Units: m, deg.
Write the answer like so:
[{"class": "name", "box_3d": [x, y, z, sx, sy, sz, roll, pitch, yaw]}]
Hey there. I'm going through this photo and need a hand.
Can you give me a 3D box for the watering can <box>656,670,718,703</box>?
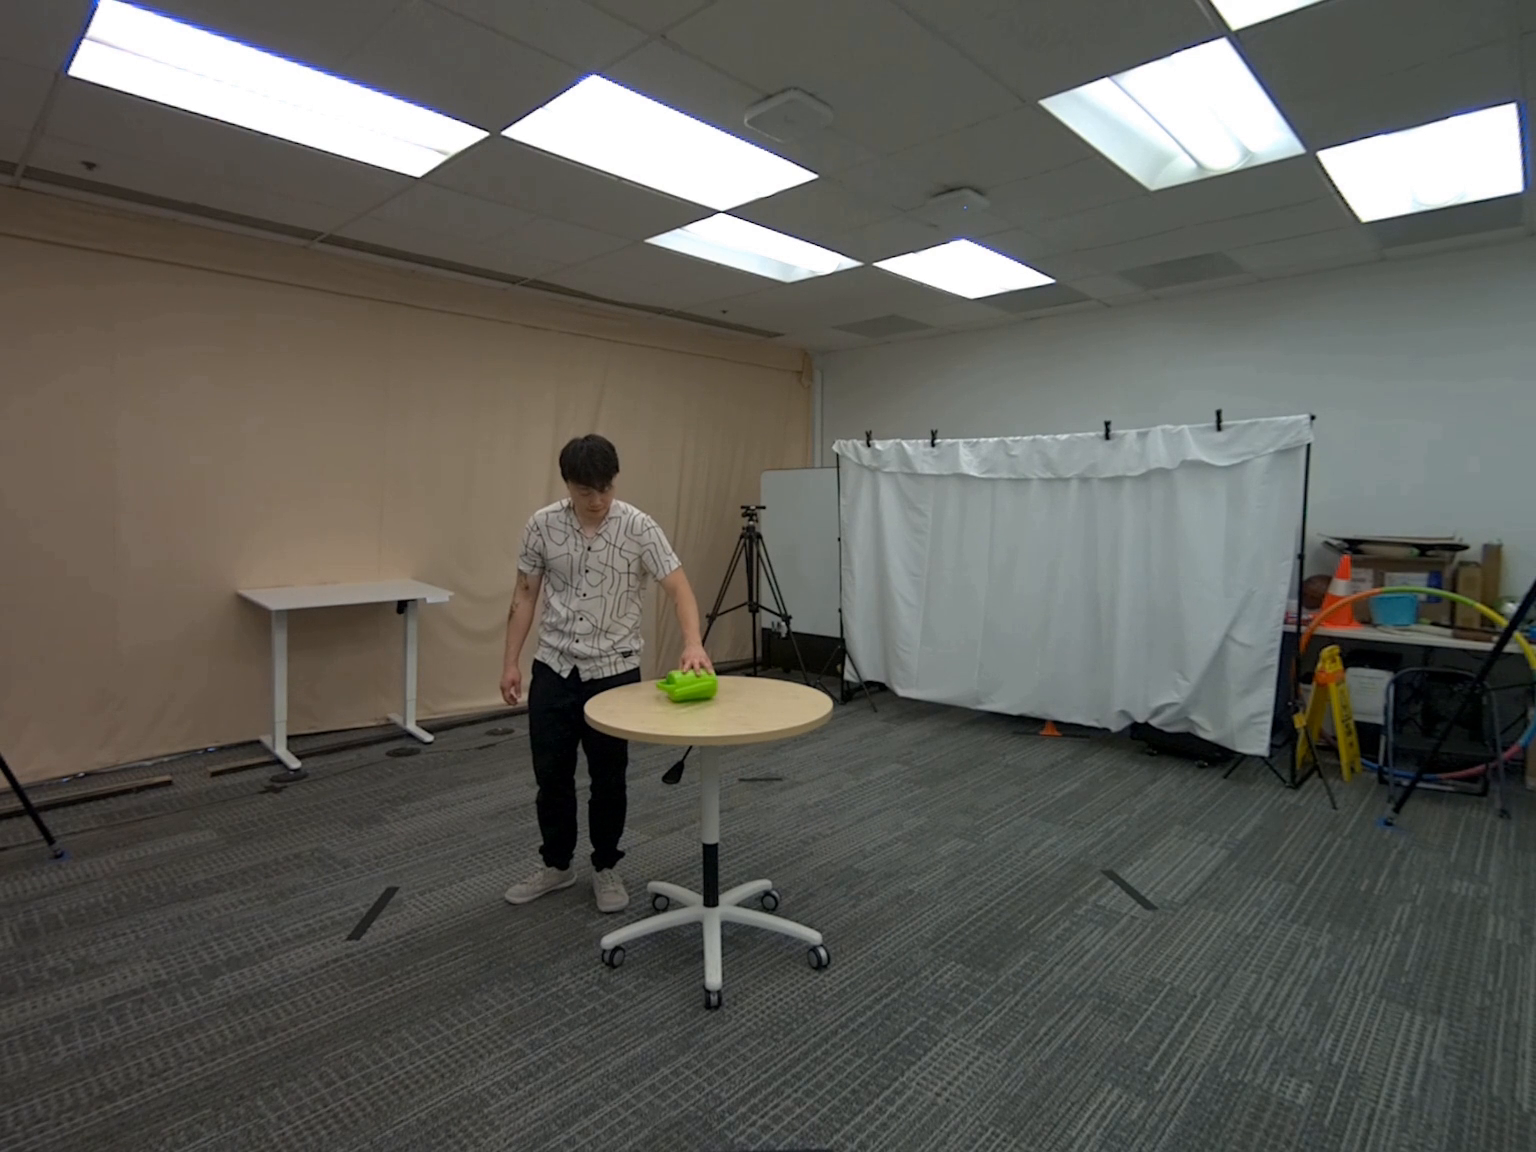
[{"class": "watering can", "box_3d": [-0.235, 0.355, 2.600, 0.173, 0.097, 0.286, -3, 14, -23]}]
